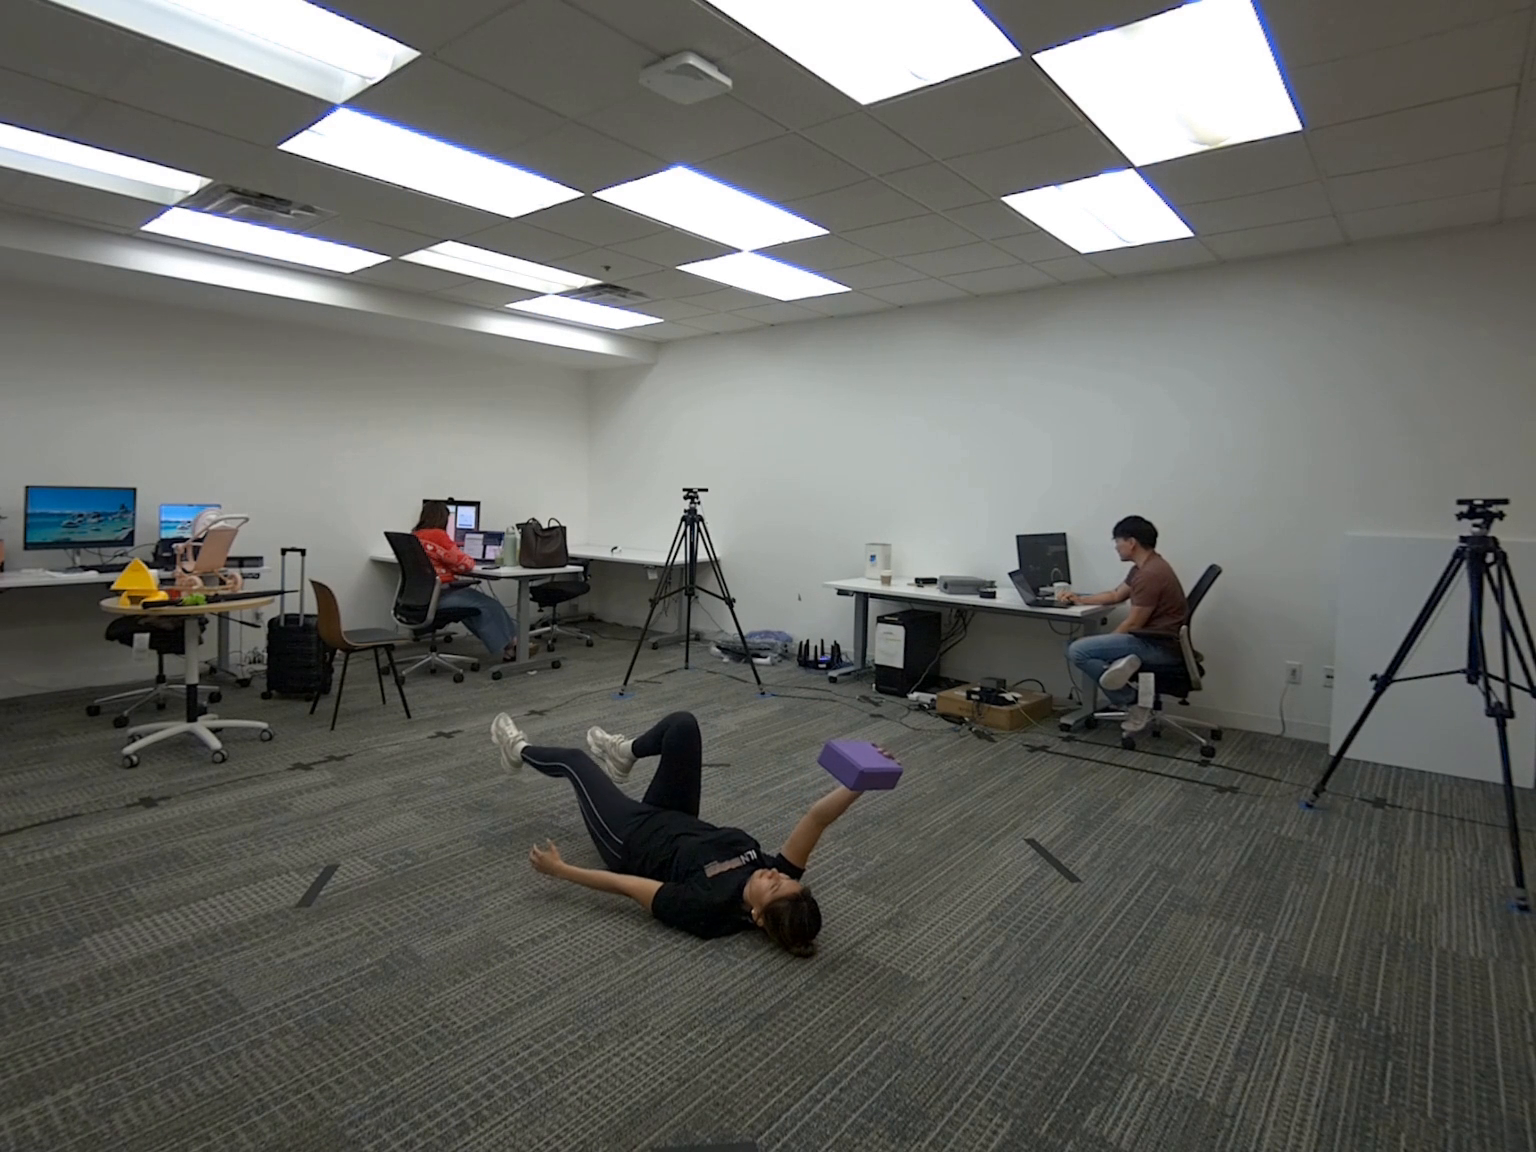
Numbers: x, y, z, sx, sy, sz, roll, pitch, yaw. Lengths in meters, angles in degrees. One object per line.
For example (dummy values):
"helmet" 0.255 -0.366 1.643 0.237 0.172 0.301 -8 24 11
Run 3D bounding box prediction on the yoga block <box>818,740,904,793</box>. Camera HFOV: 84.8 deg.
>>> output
"yoga block" 0.256 0.539 2.445 0.220 0.076 0.155 16 12 -46
